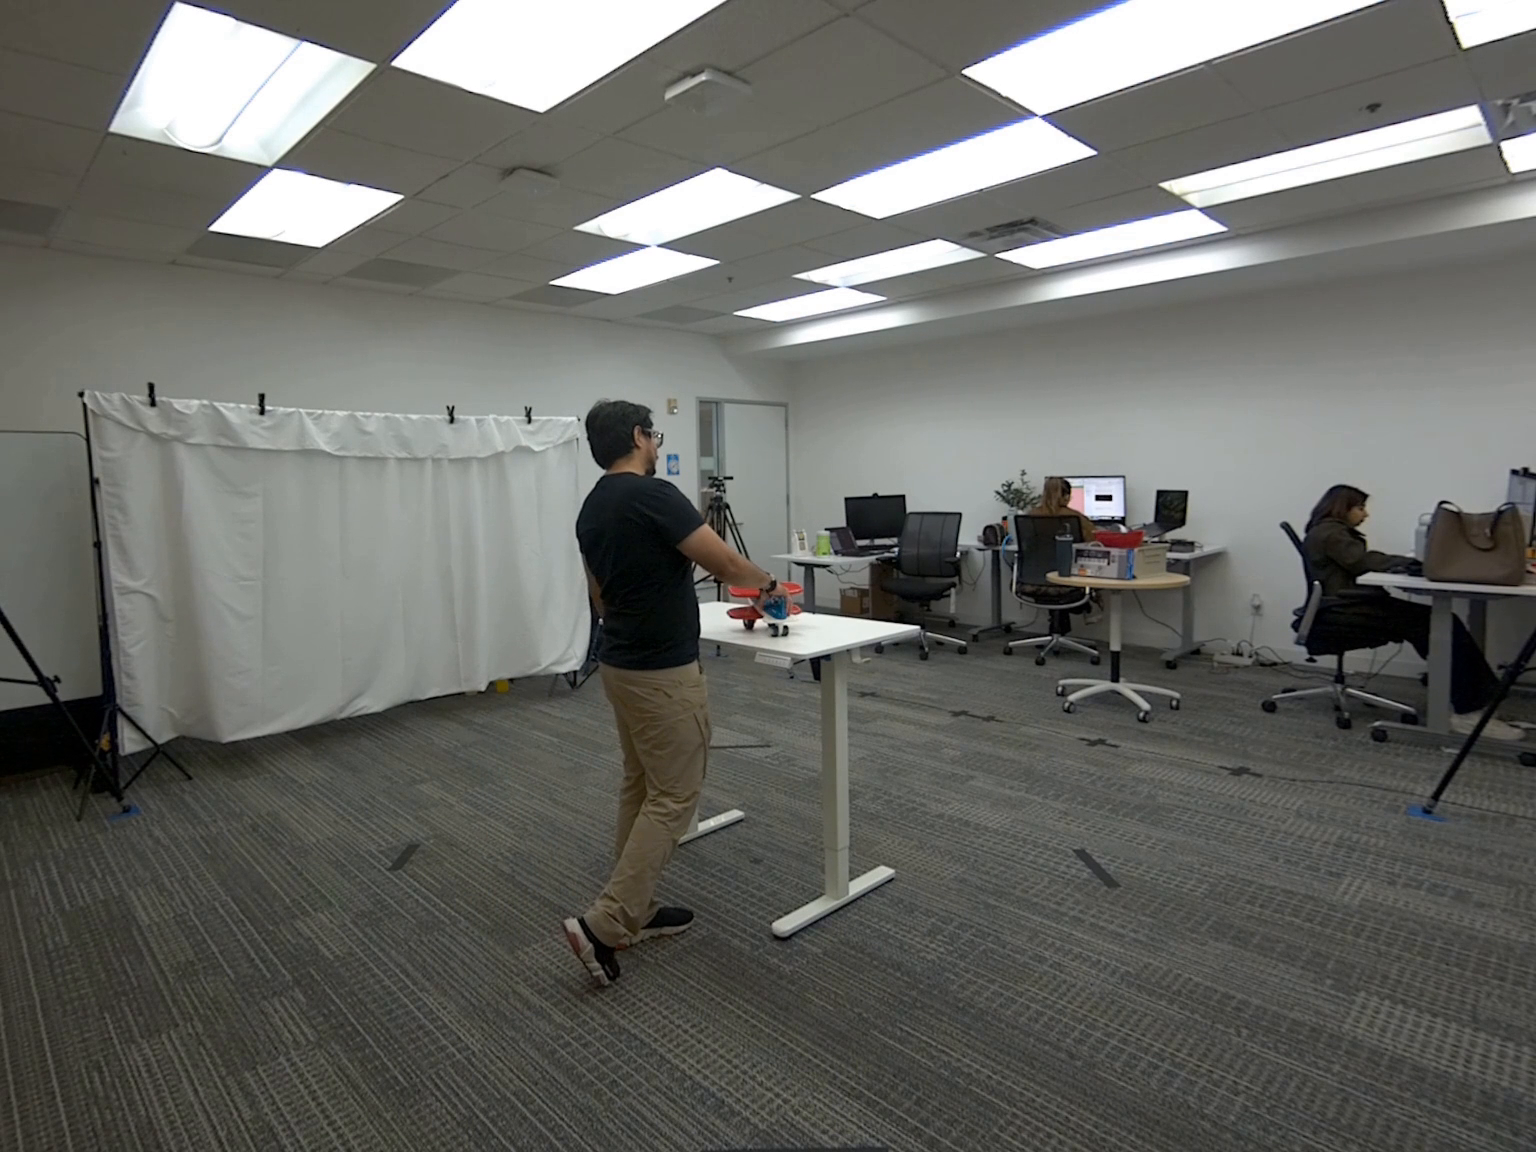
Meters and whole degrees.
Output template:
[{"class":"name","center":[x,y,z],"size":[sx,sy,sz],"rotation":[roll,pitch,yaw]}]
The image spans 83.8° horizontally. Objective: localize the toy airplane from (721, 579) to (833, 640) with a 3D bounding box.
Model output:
[{"class":"toy airplane","center":[0.029,0.103,2.819],"size":[0.267,0.156,0.244],"rotation":[1,5,44]}]
